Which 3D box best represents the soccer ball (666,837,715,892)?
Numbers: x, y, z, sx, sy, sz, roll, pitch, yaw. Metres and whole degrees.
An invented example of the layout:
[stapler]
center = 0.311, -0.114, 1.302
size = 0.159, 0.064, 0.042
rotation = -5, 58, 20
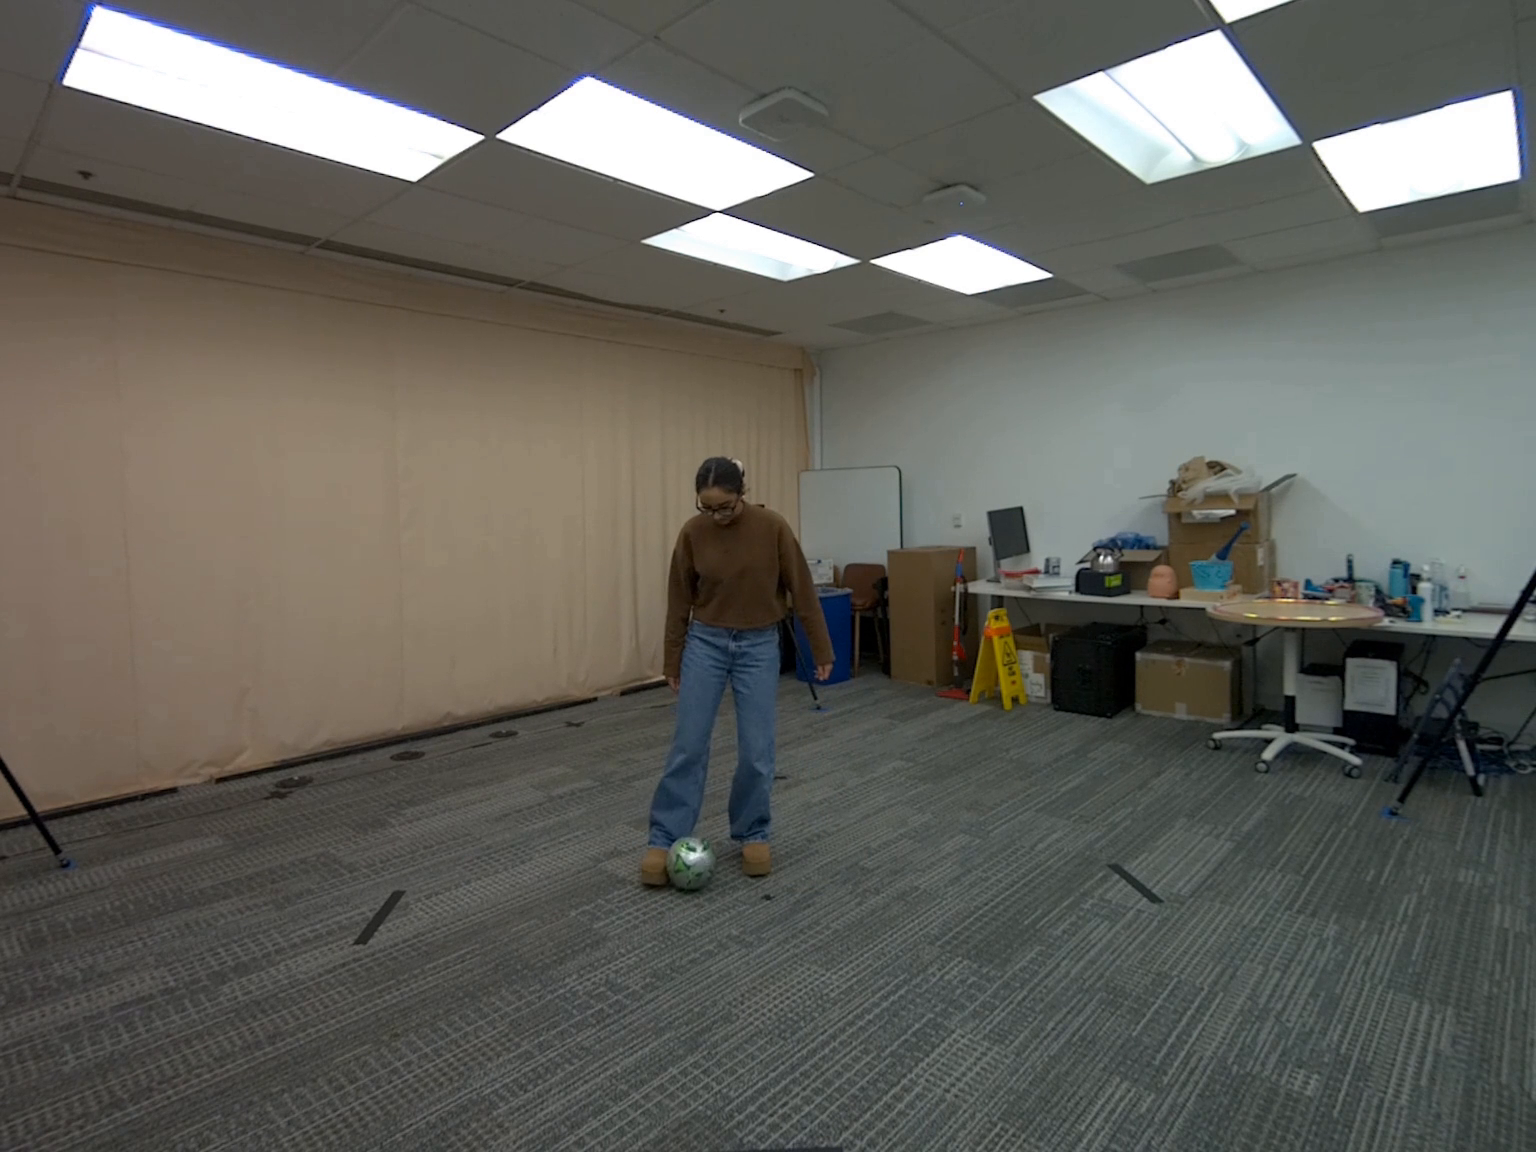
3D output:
[soccer ball]
center = -0.275, 1.045, 3.066
size = 0.187, 0.187, 0.188
rotation = -1, 4, -2
